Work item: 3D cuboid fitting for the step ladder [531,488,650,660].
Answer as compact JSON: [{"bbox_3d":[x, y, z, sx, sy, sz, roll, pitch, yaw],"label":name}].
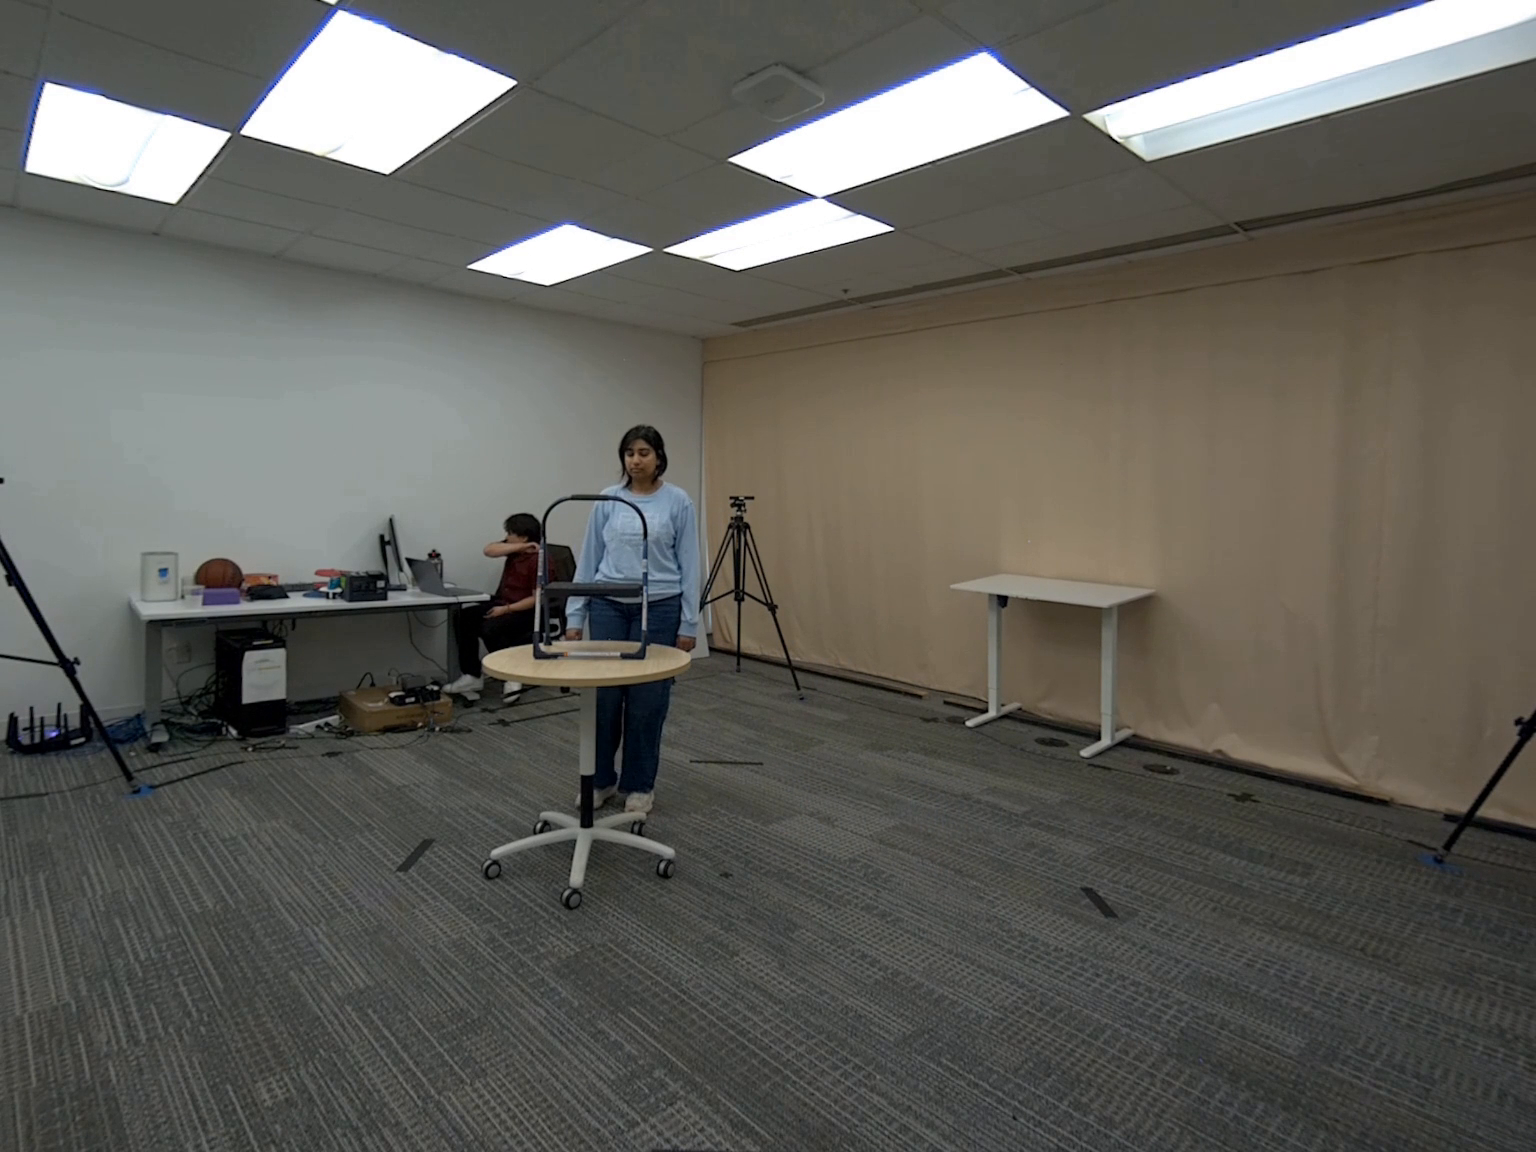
[{"bbox_3d":[-0.687,-0.009,3.259,0.428,0.605,0.351,1,2,-7],"label":"step ladder"}]
